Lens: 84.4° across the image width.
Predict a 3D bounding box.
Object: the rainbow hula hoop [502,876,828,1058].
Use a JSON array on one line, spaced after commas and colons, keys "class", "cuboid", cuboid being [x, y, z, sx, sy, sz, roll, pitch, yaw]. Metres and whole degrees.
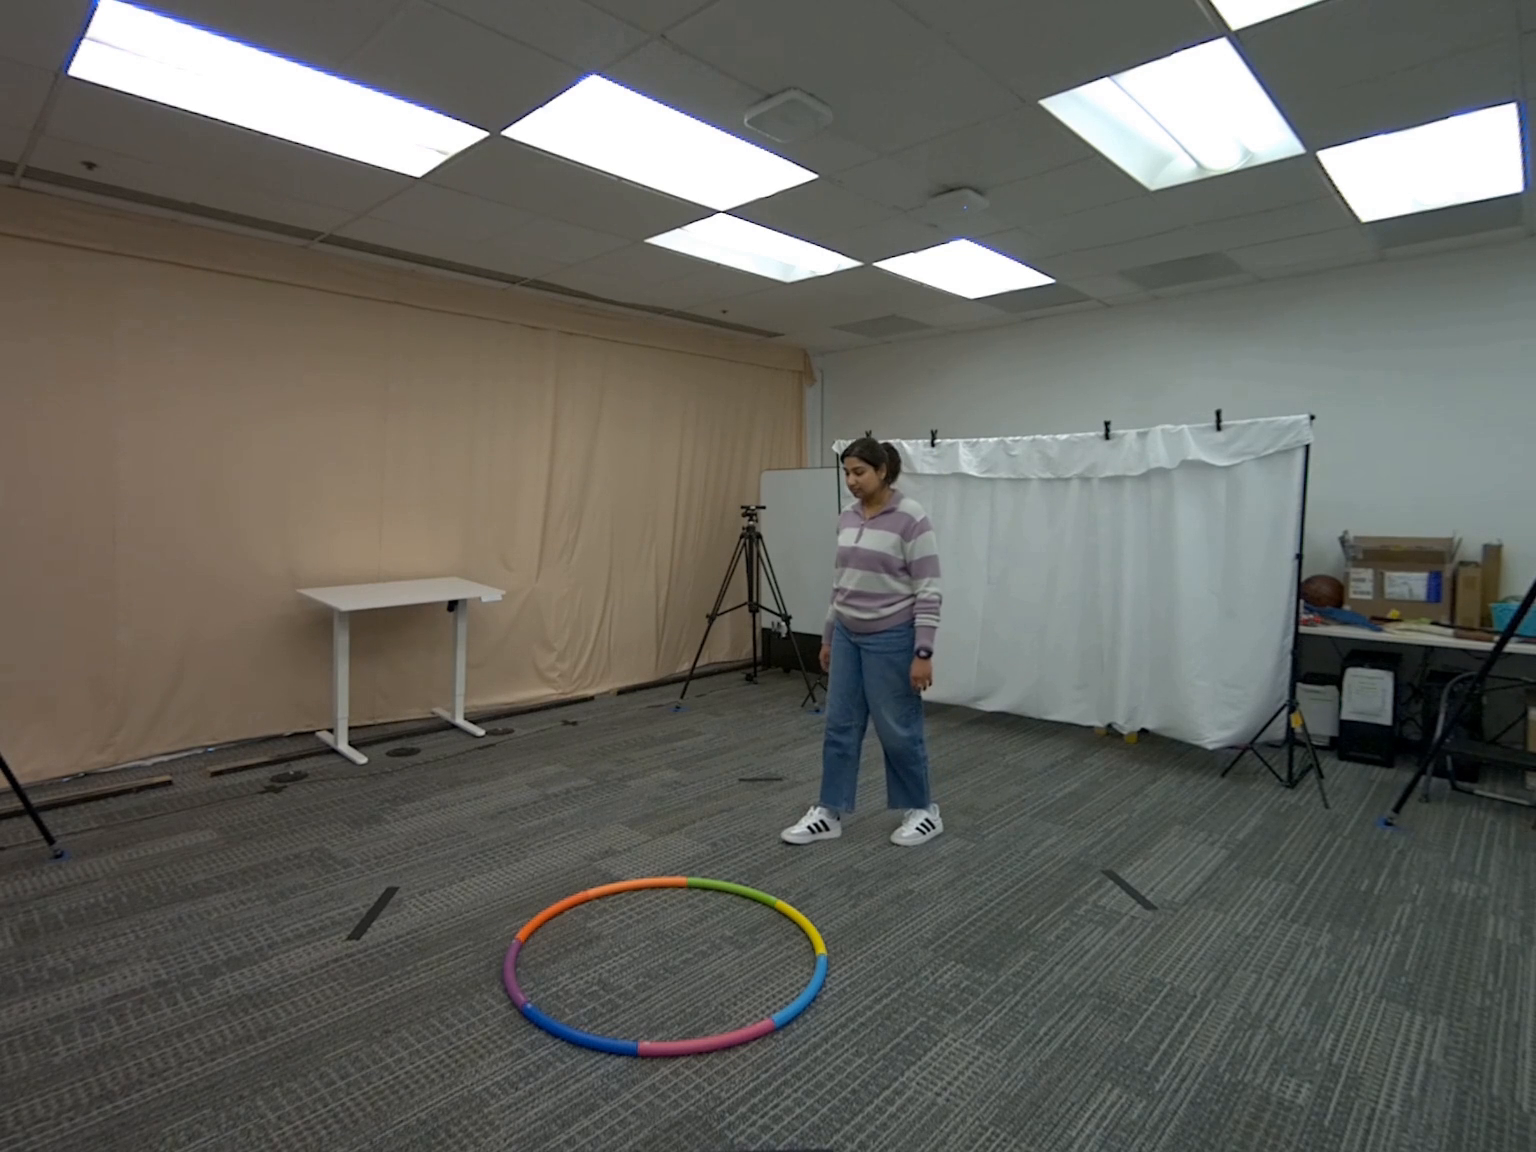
[{"class": "rainbow hula hoop", "cuboid": [-0.309, 1.148, 2.612, 0.978, 0.035, 0.982, 0, 4, -2]}]
